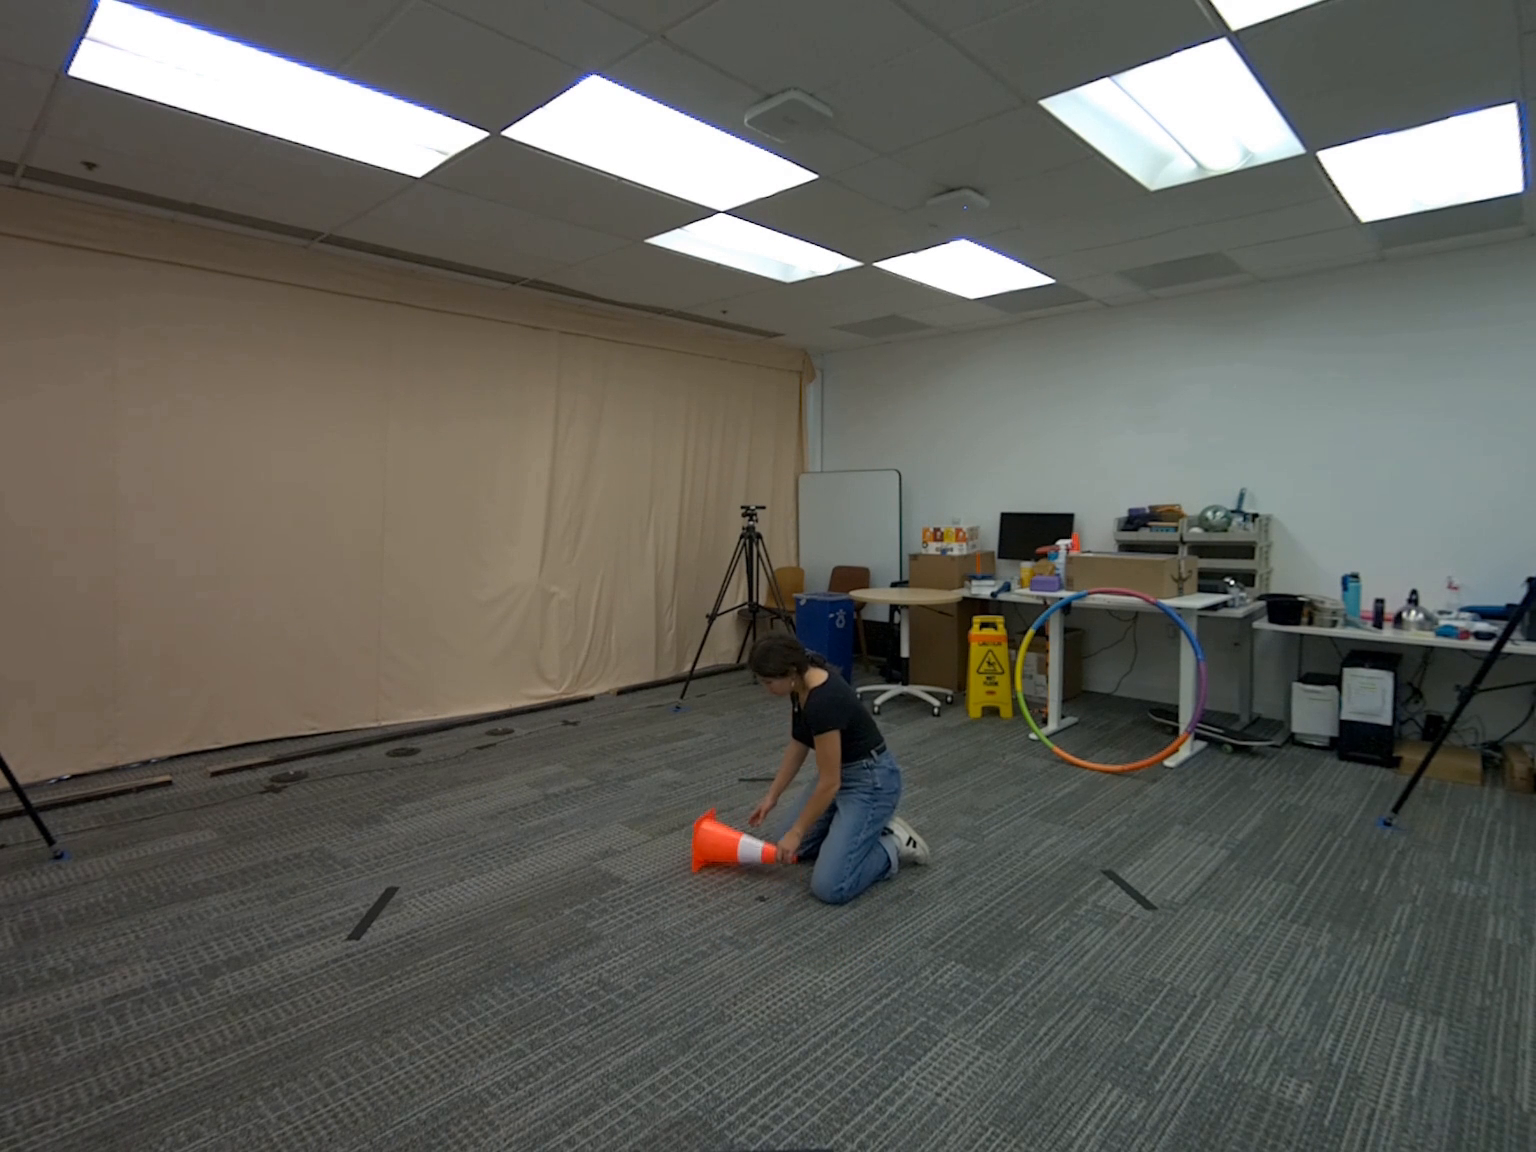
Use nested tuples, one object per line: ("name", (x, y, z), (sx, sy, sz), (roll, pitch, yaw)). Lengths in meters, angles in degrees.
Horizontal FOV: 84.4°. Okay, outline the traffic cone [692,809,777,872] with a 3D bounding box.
("traffic cone", (-0.069, 1.037, 3.200), (0.393, 0.203, 0.200), (3, 5, 23))
